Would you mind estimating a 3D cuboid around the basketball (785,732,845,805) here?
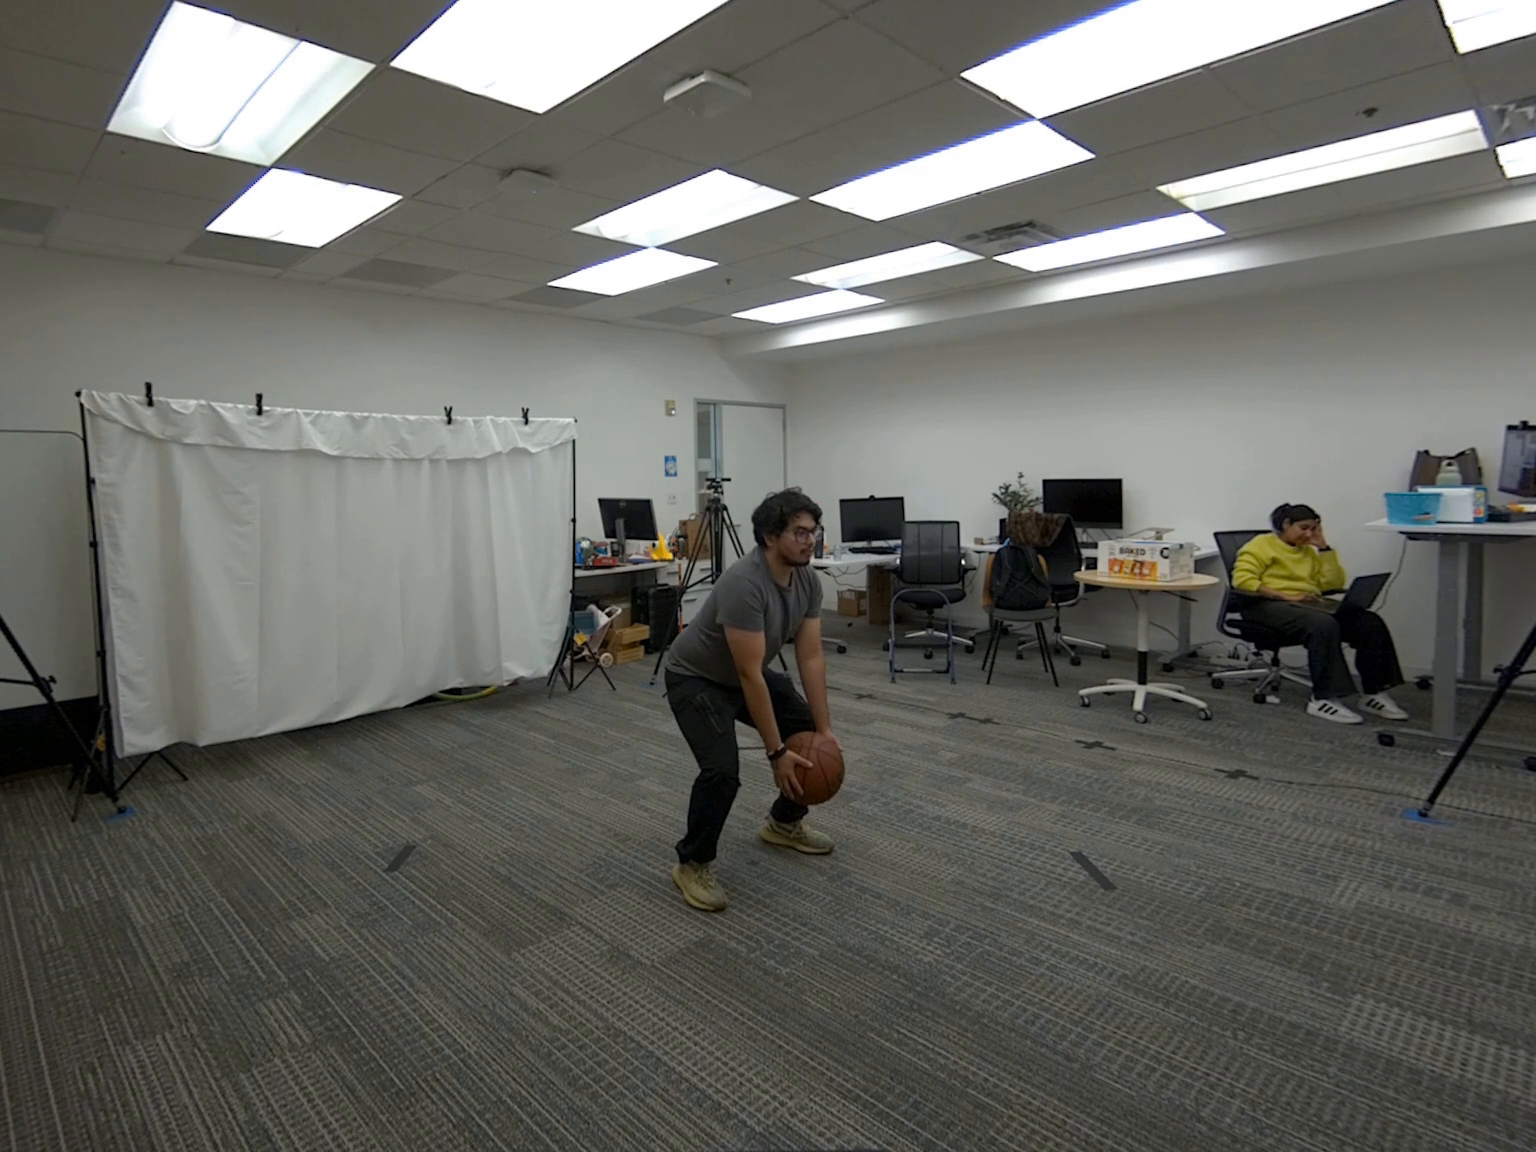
[{"bbox_3d":[0.129,0.644,2.867,0.236,0.235,0.237,-1,5,-2],"label":"basketball"}]
